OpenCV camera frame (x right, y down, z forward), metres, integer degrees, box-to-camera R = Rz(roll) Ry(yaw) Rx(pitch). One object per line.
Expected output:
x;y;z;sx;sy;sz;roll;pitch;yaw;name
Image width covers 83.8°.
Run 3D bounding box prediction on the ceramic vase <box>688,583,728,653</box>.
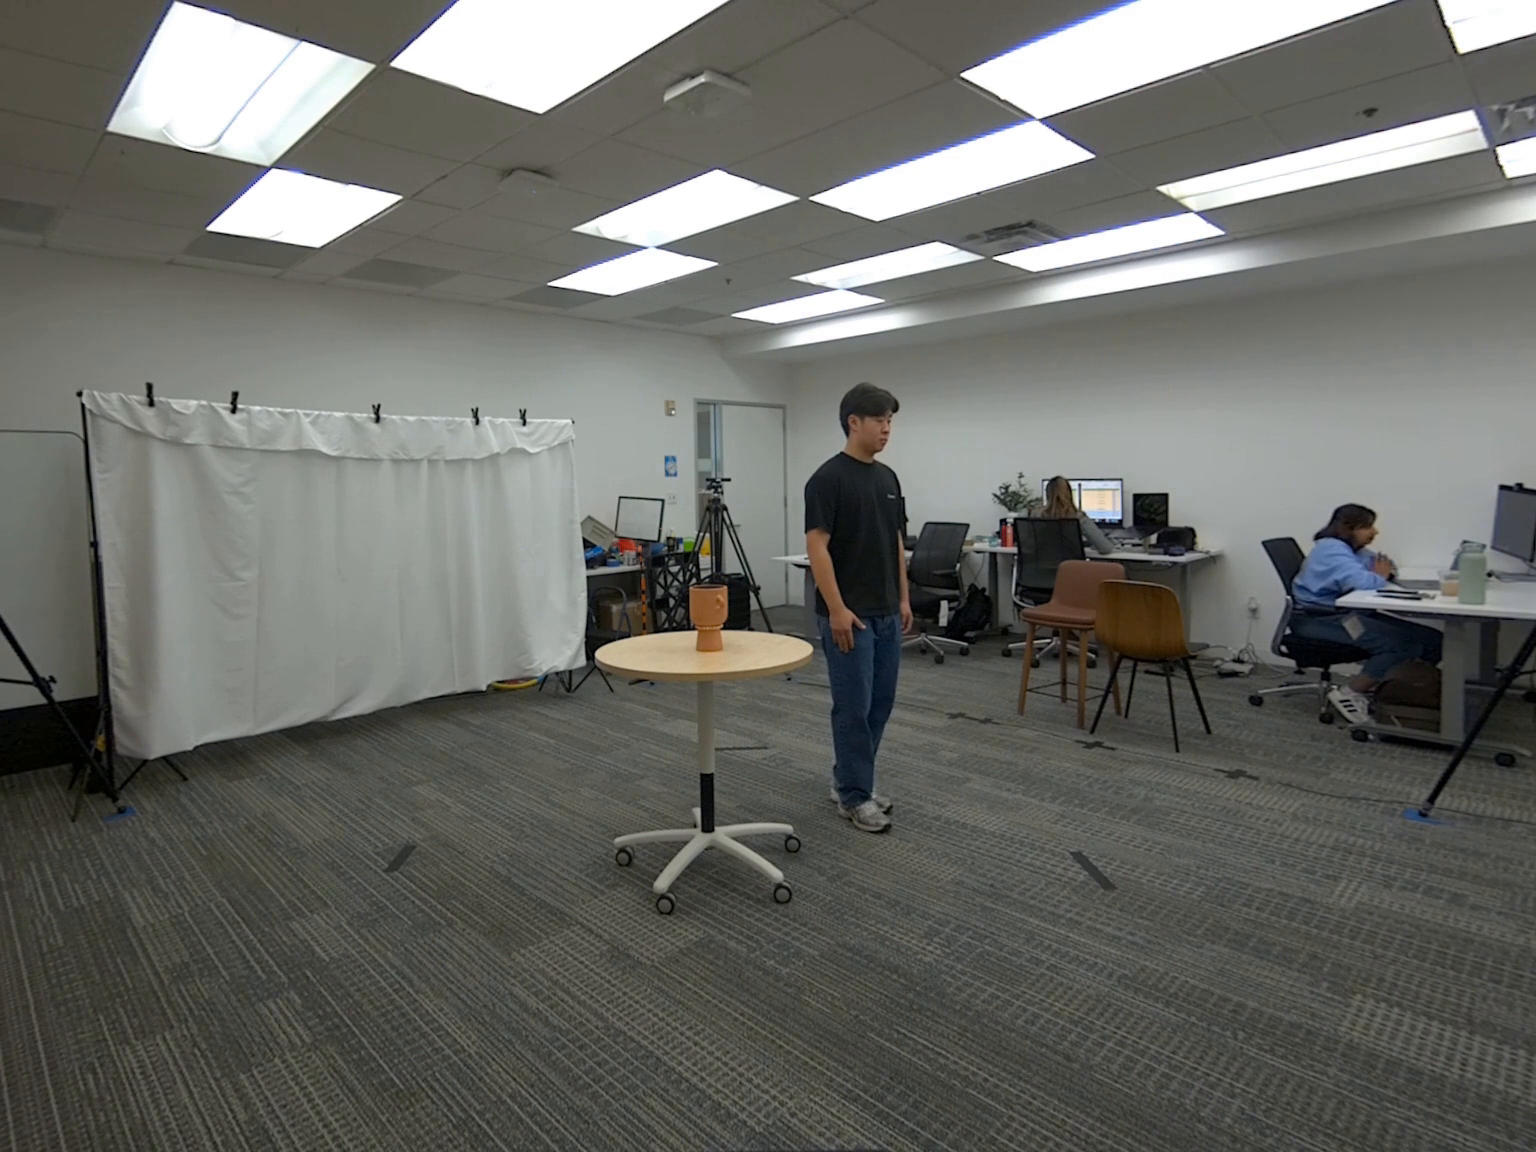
-0.204;0.153;3.006;0.136;0.219;0.158;0;5;8;ceramic vase
